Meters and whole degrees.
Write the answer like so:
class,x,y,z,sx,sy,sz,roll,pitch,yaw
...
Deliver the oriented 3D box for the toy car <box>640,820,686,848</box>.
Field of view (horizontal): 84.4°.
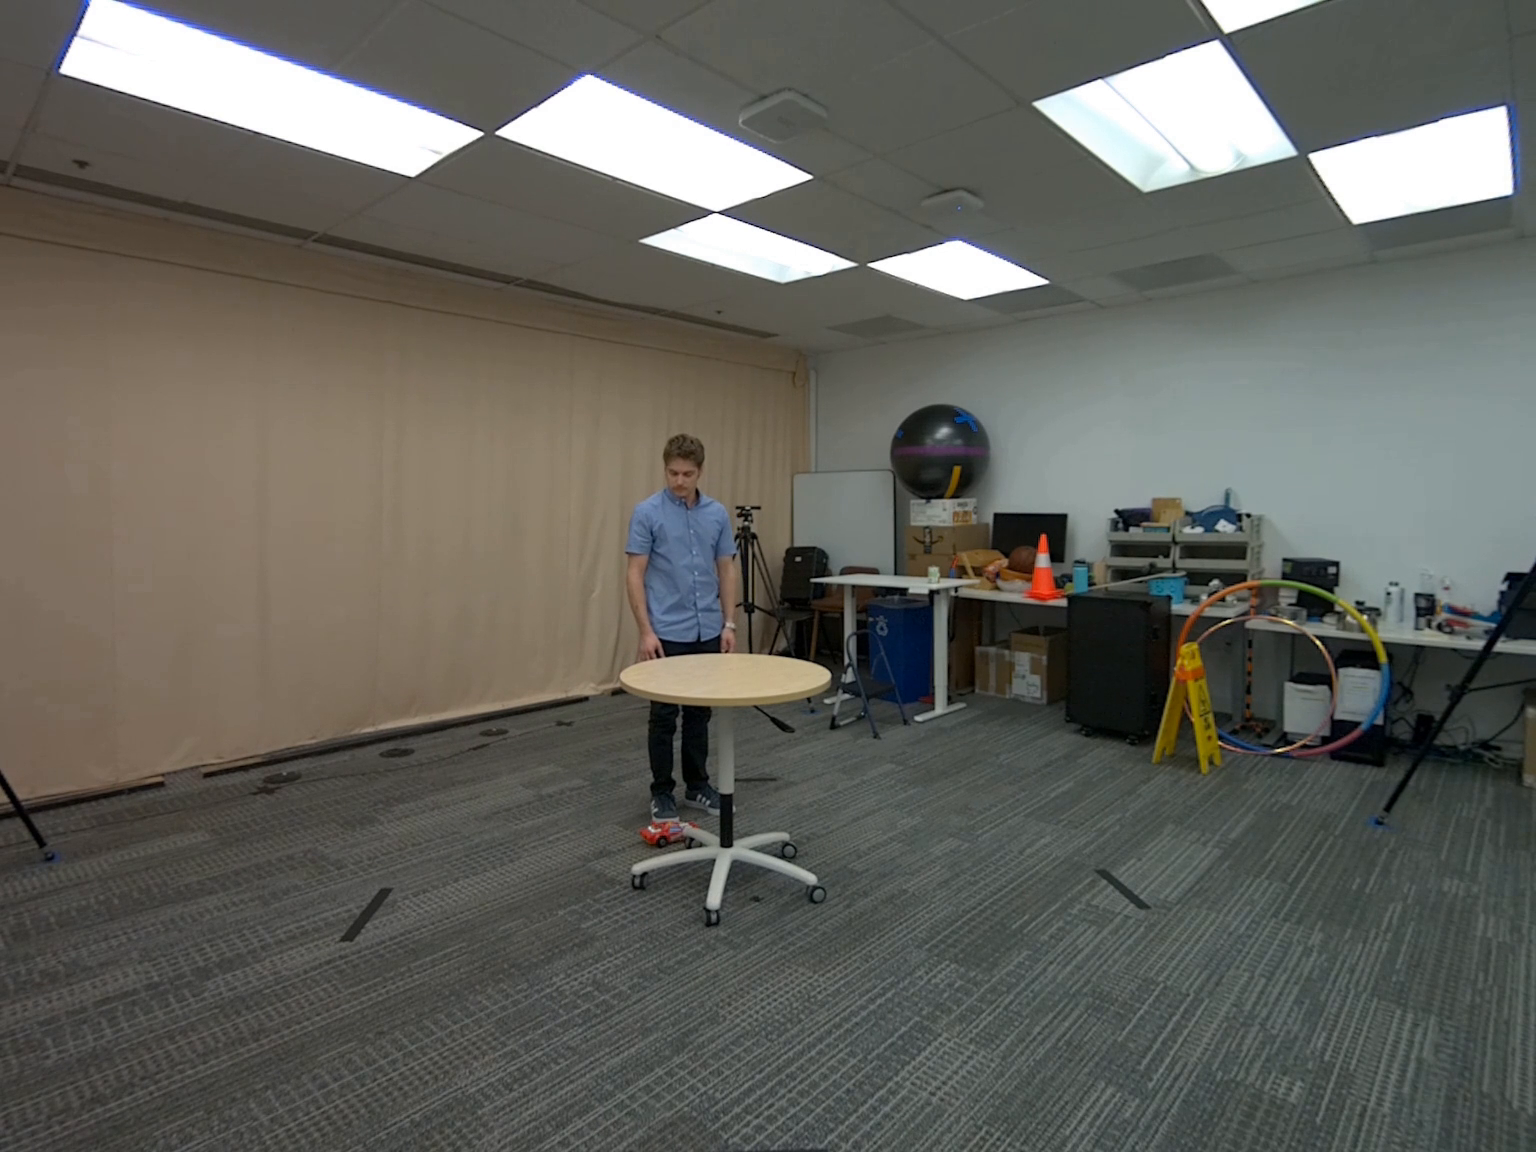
class,x,y,z,sx,sy,sz,roll,pitch,yaw
toy car,-0.422,1.071,3.511,0.247,0.083,0.134,10,-2,-28
